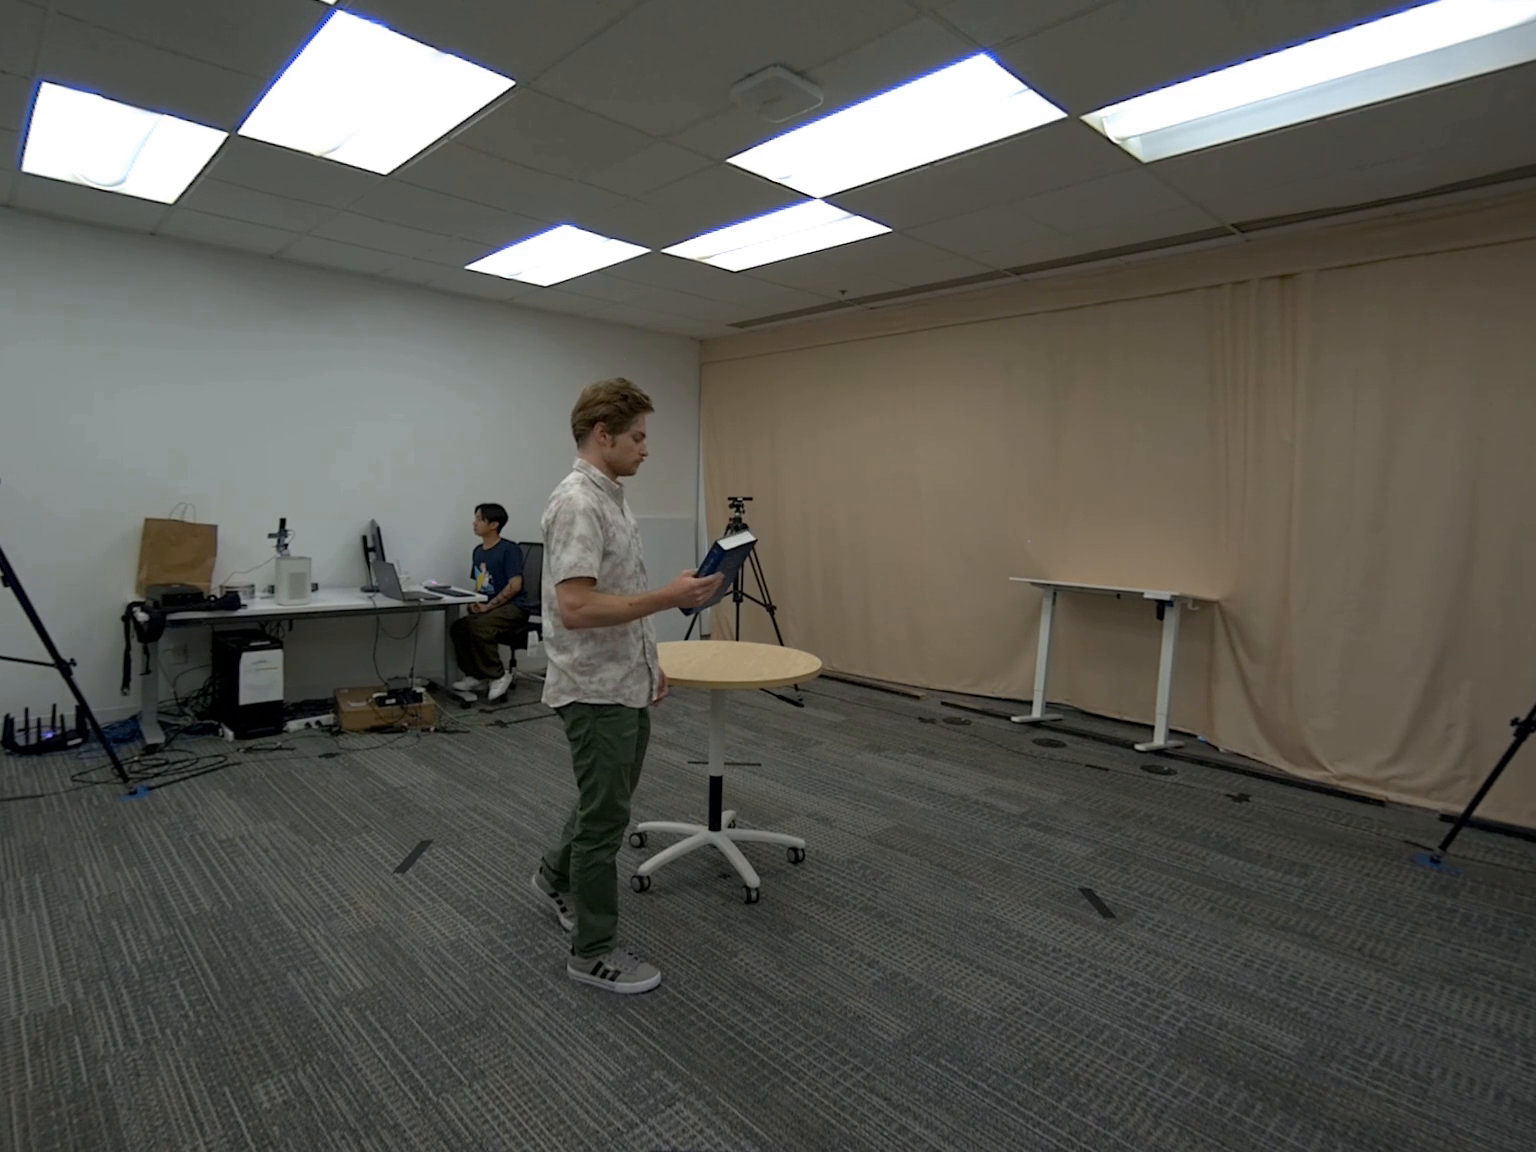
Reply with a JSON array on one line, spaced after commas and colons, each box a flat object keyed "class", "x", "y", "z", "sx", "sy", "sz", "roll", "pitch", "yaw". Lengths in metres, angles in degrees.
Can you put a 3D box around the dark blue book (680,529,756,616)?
[{"class": "dark blue book", "x": -0.142, "y": -0.008, "z": 2.287, "sx": 0.046, "sy": 0.243, "sz": 0.161, "roll": 41, "pitch": 30, "yaw": 18}]
